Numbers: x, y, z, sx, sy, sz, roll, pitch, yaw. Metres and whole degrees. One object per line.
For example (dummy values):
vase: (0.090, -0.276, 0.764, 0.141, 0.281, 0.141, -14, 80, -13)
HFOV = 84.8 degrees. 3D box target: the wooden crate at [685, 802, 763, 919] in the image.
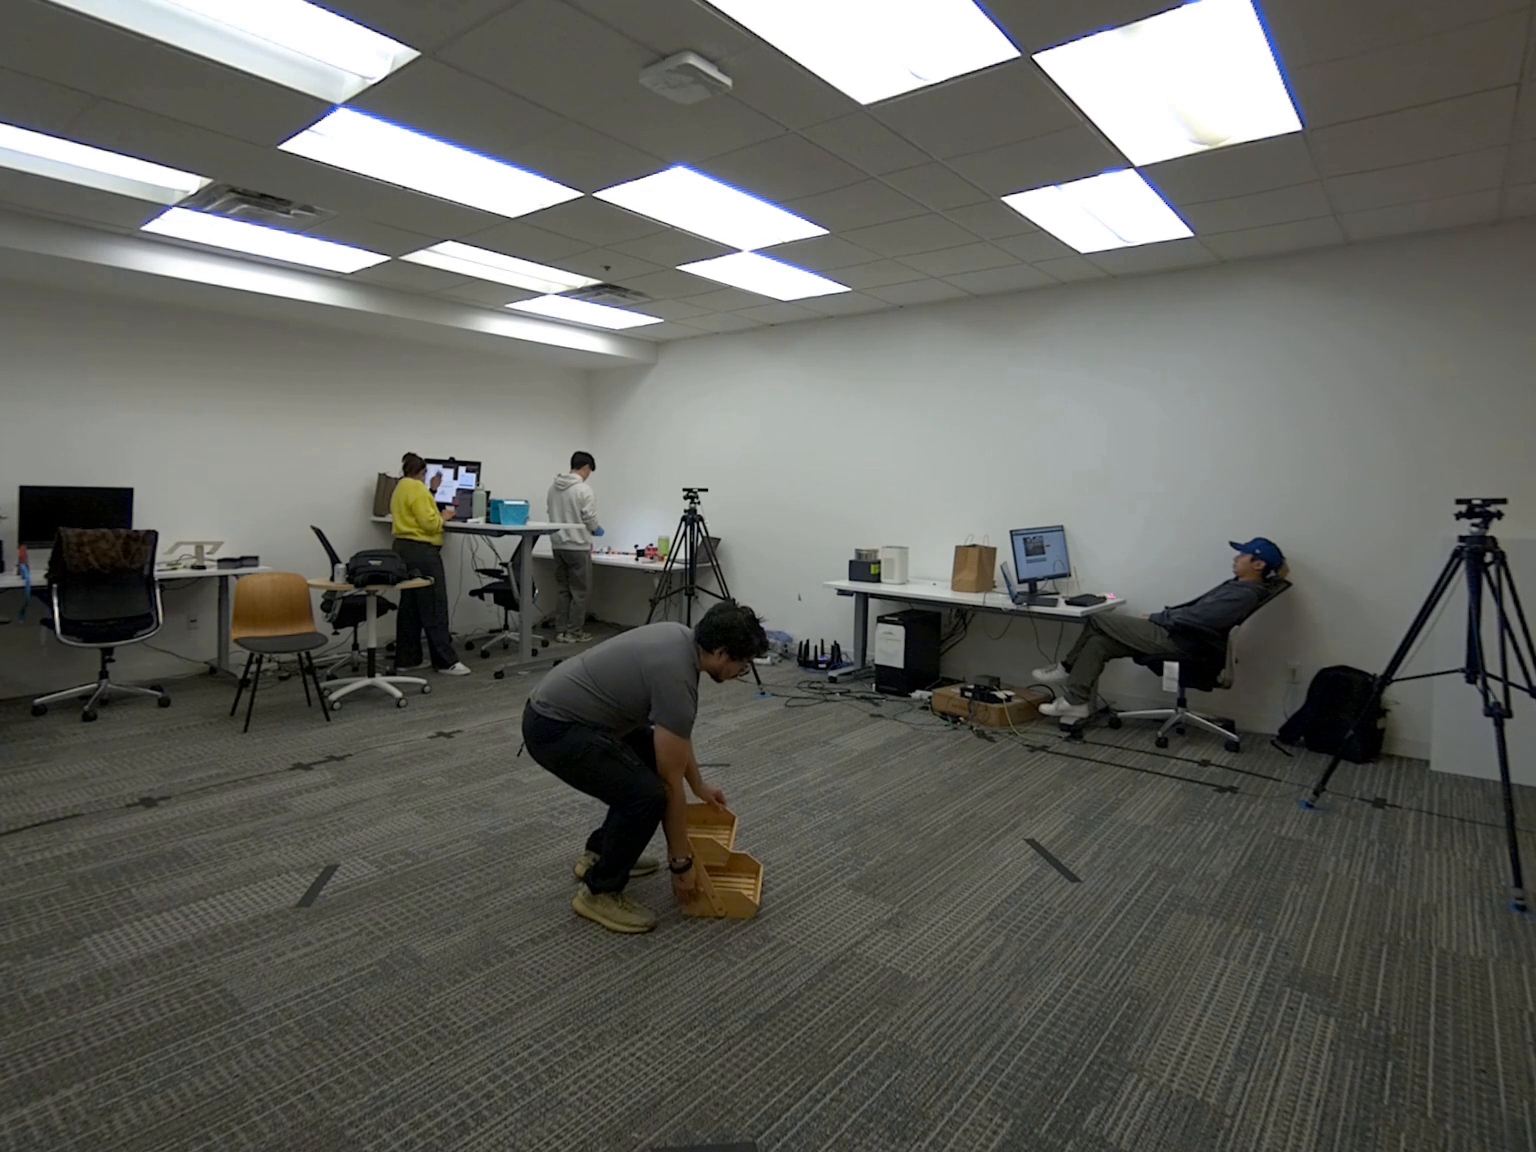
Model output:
wooden crate: (-0.160, 0.963, 2.895, 0.304, 0.272, 0.323, 1, 4, 4)
